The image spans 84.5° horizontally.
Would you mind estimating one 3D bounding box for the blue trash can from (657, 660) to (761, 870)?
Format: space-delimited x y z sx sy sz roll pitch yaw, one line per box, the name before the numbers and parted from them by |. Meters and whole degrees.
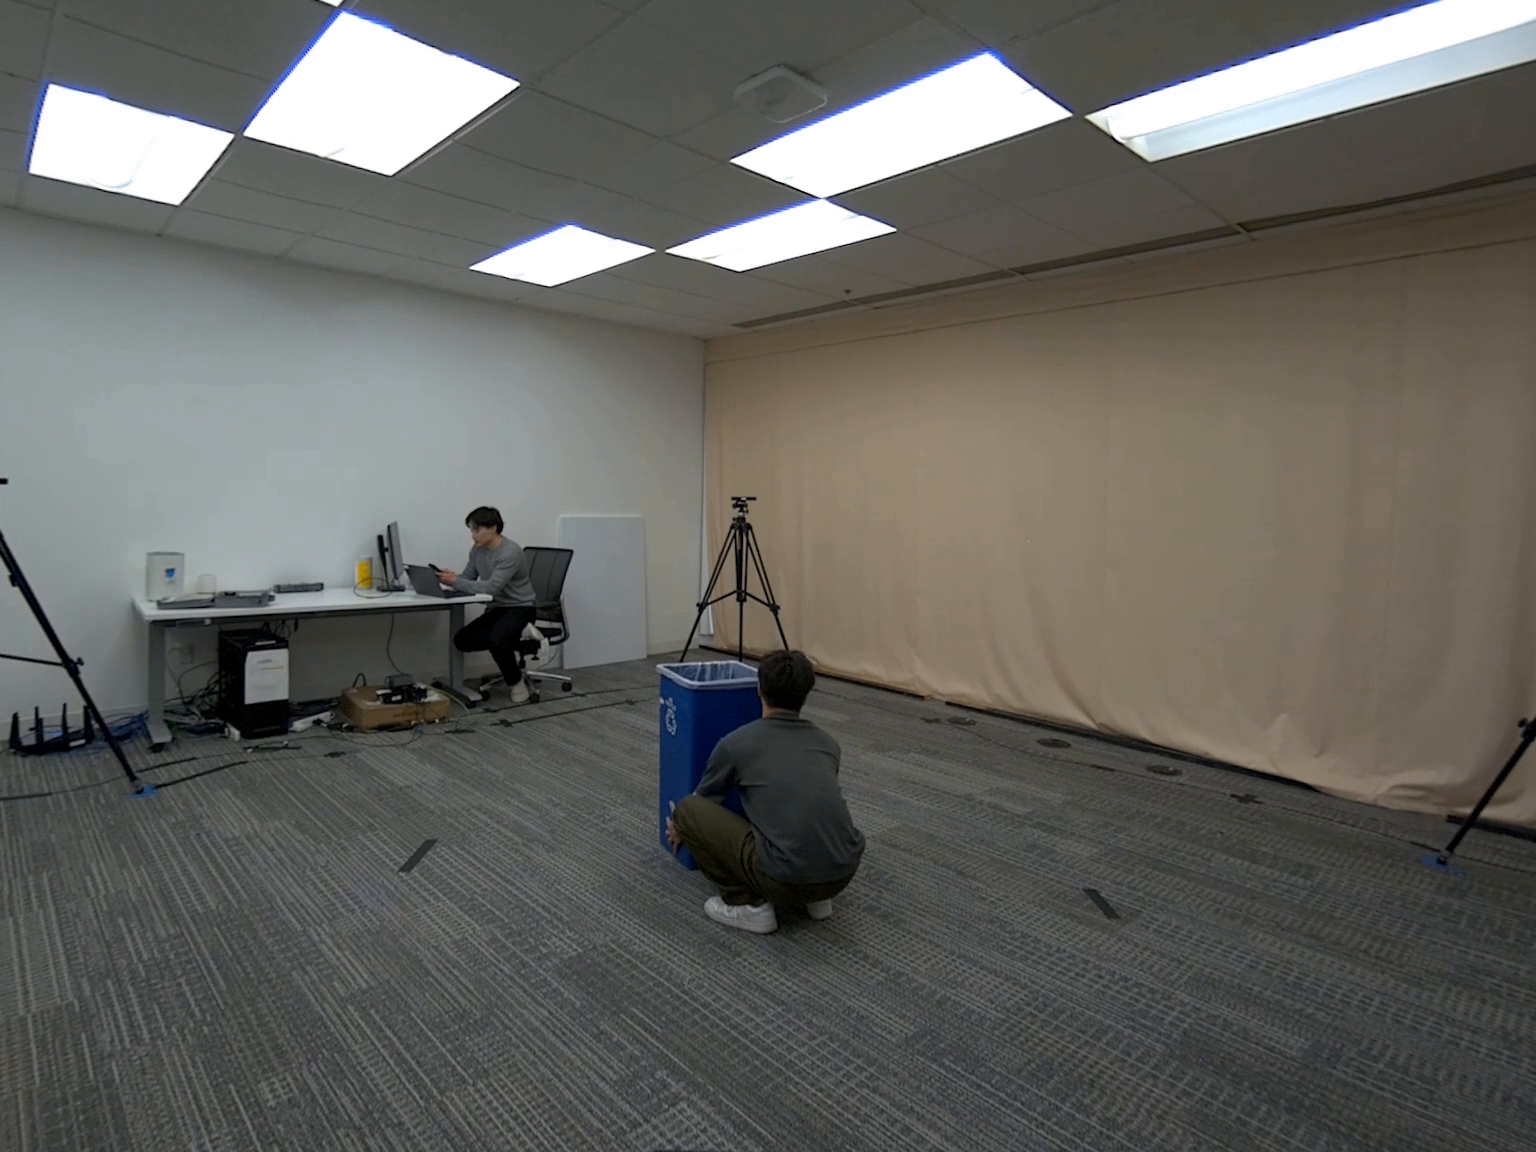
blue trash can | -0.237 0.725 3.307 0.366 0.712 0.386 1 4 -29
